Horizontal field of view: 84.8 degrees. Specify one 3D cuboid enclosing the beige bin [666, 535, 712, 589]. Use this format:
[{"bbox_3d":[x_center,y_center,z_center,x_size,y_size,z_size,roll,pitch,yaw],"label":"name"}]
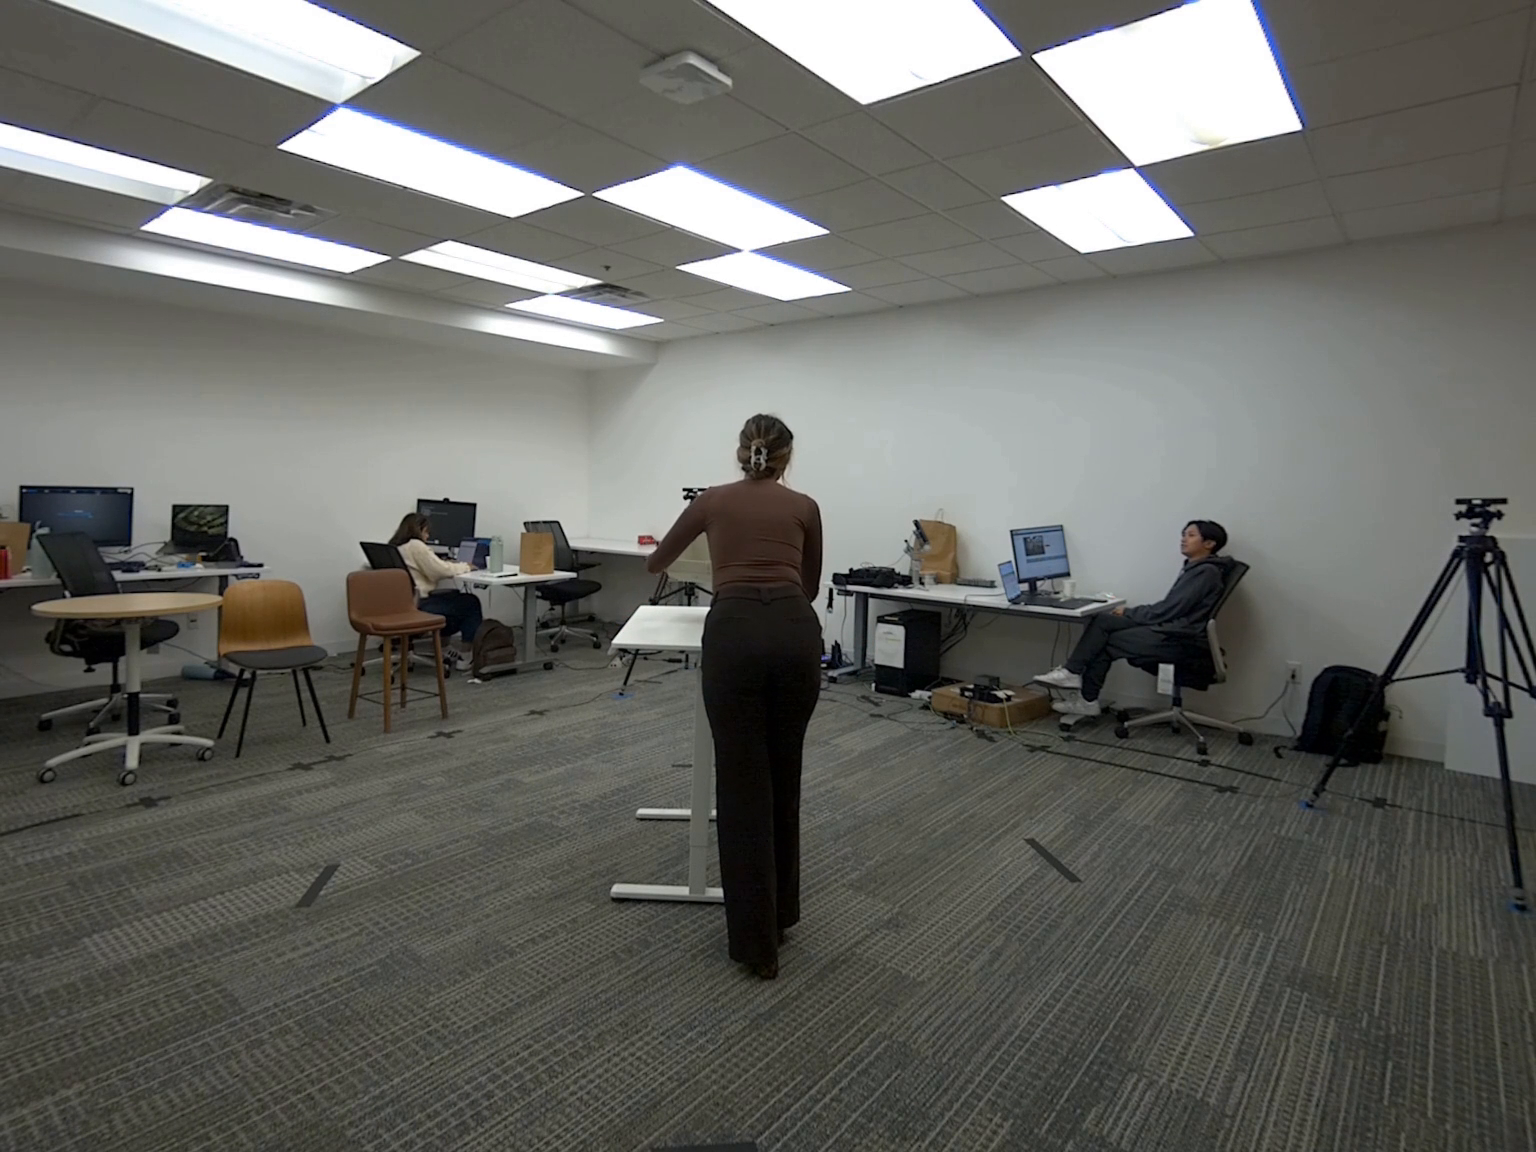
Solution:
[{"bbox_3d":[-0.162,-0.063,3.309,0.426,0.188,0.376,3,5,6],"label":"beige bin"}]
